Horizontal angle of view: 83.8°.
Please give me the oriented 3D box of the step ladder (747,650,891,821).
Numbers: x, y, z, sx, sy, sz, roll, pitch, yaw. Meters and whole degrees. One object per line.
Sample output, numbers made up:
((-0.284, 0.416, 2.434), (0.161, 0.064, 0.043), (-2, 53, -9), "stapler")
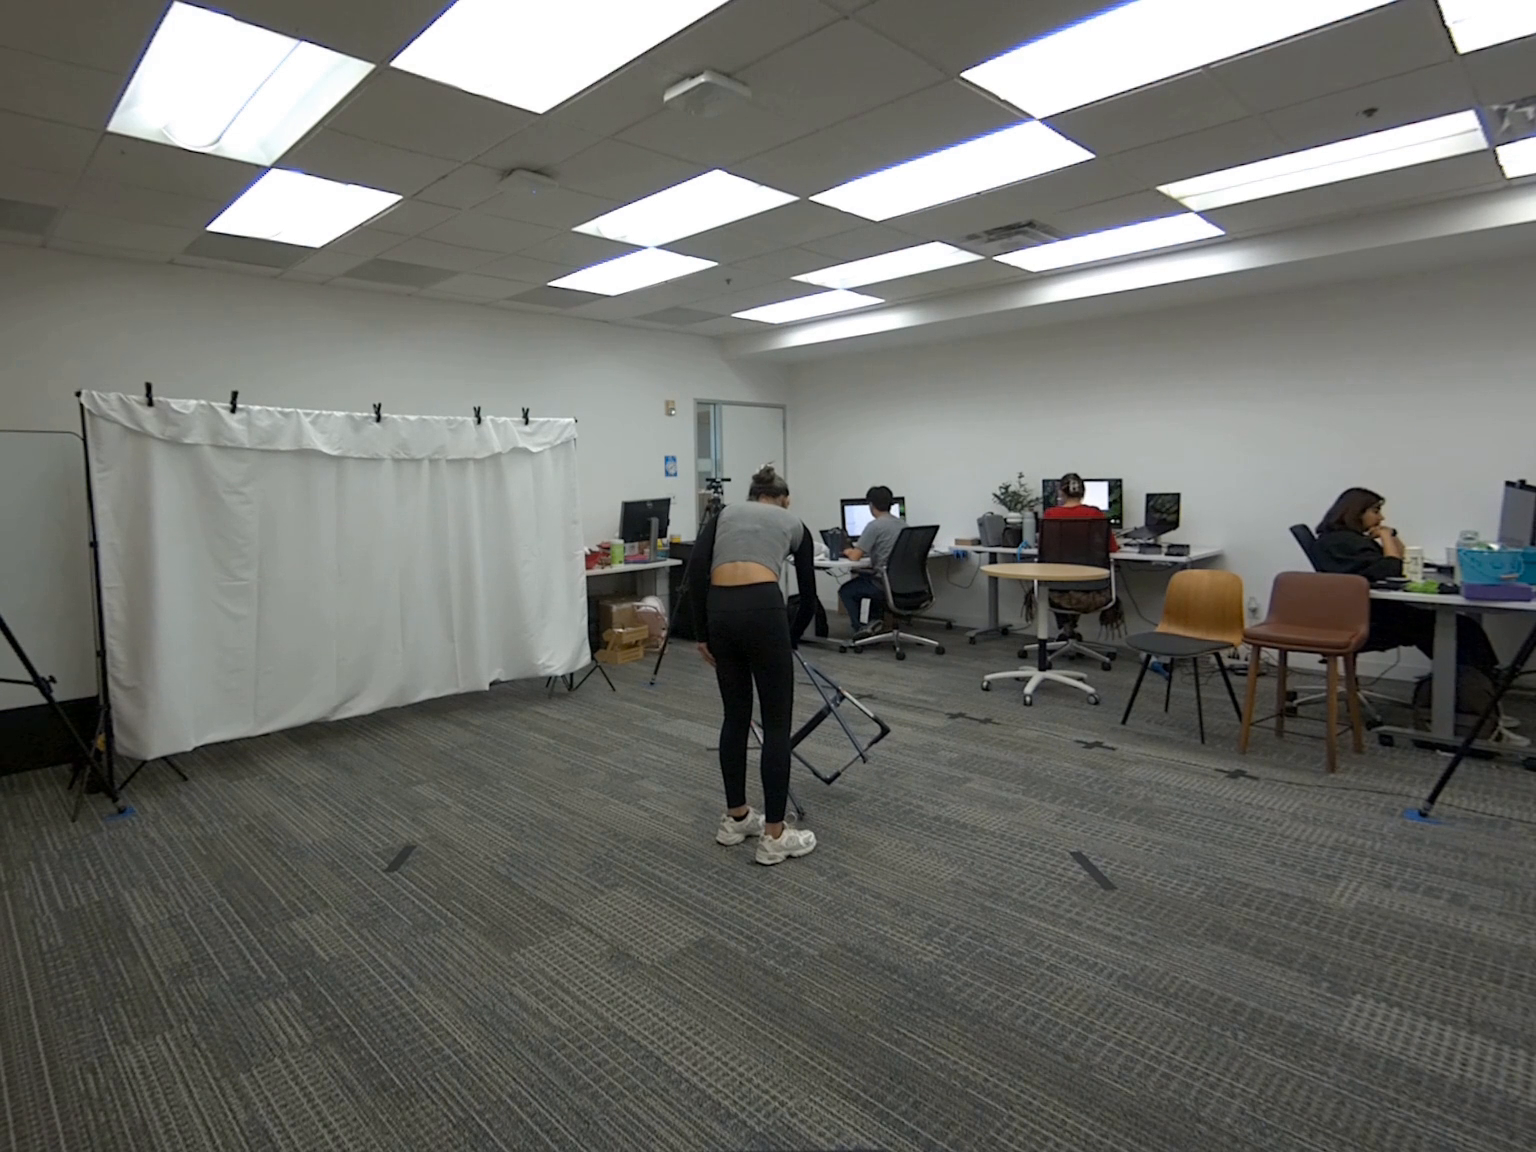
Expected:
((0.132, 0.604, 3.621), (0.430, 0.617, 0.344), (-48, -14, 25), "step ladder")
